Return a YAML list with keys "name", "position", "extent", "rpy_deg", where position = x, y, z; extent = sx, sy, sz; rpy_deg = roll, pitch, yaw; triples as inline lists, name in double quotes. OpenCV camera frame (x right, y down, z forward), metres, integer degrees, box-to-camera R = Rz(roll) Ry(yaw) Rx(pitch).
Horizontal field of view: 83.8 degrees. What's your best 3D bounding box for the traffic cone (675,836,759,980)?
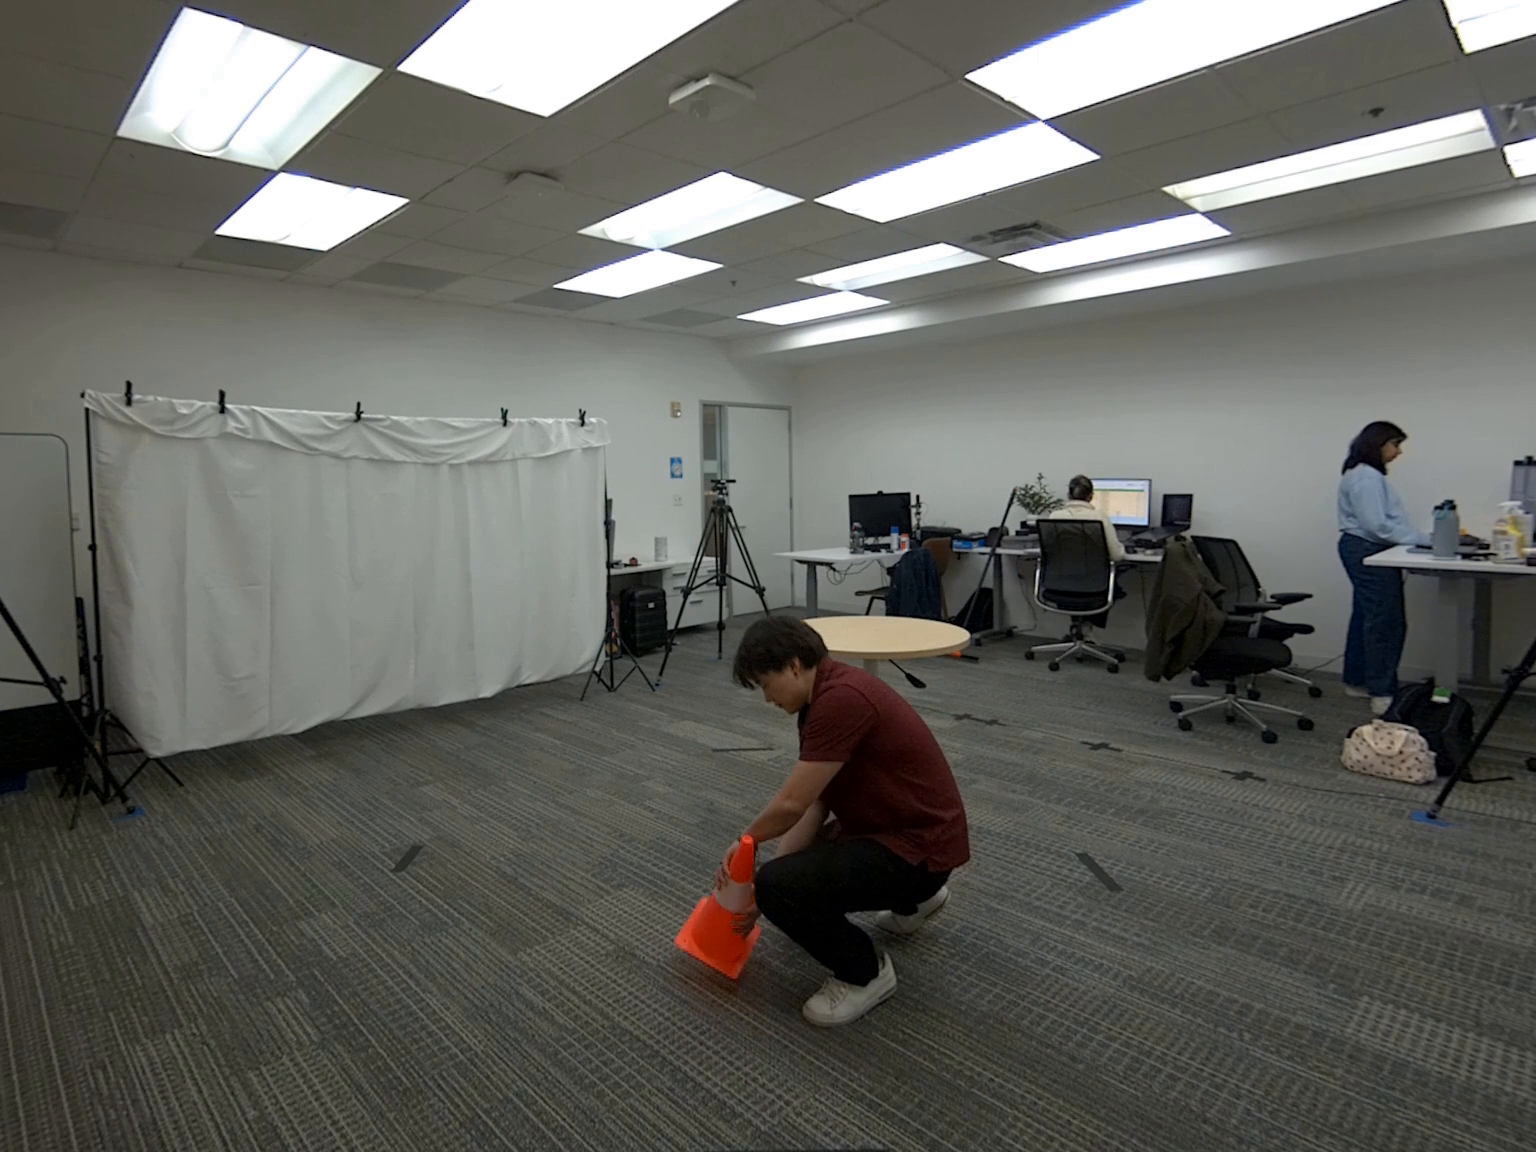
- name: "traffic cone"
  position: [-0.075, 0.869, 2.336]
  extent: [0.207, 0.378, 0.204]
  rpy_deg: [19, 27, 8]
